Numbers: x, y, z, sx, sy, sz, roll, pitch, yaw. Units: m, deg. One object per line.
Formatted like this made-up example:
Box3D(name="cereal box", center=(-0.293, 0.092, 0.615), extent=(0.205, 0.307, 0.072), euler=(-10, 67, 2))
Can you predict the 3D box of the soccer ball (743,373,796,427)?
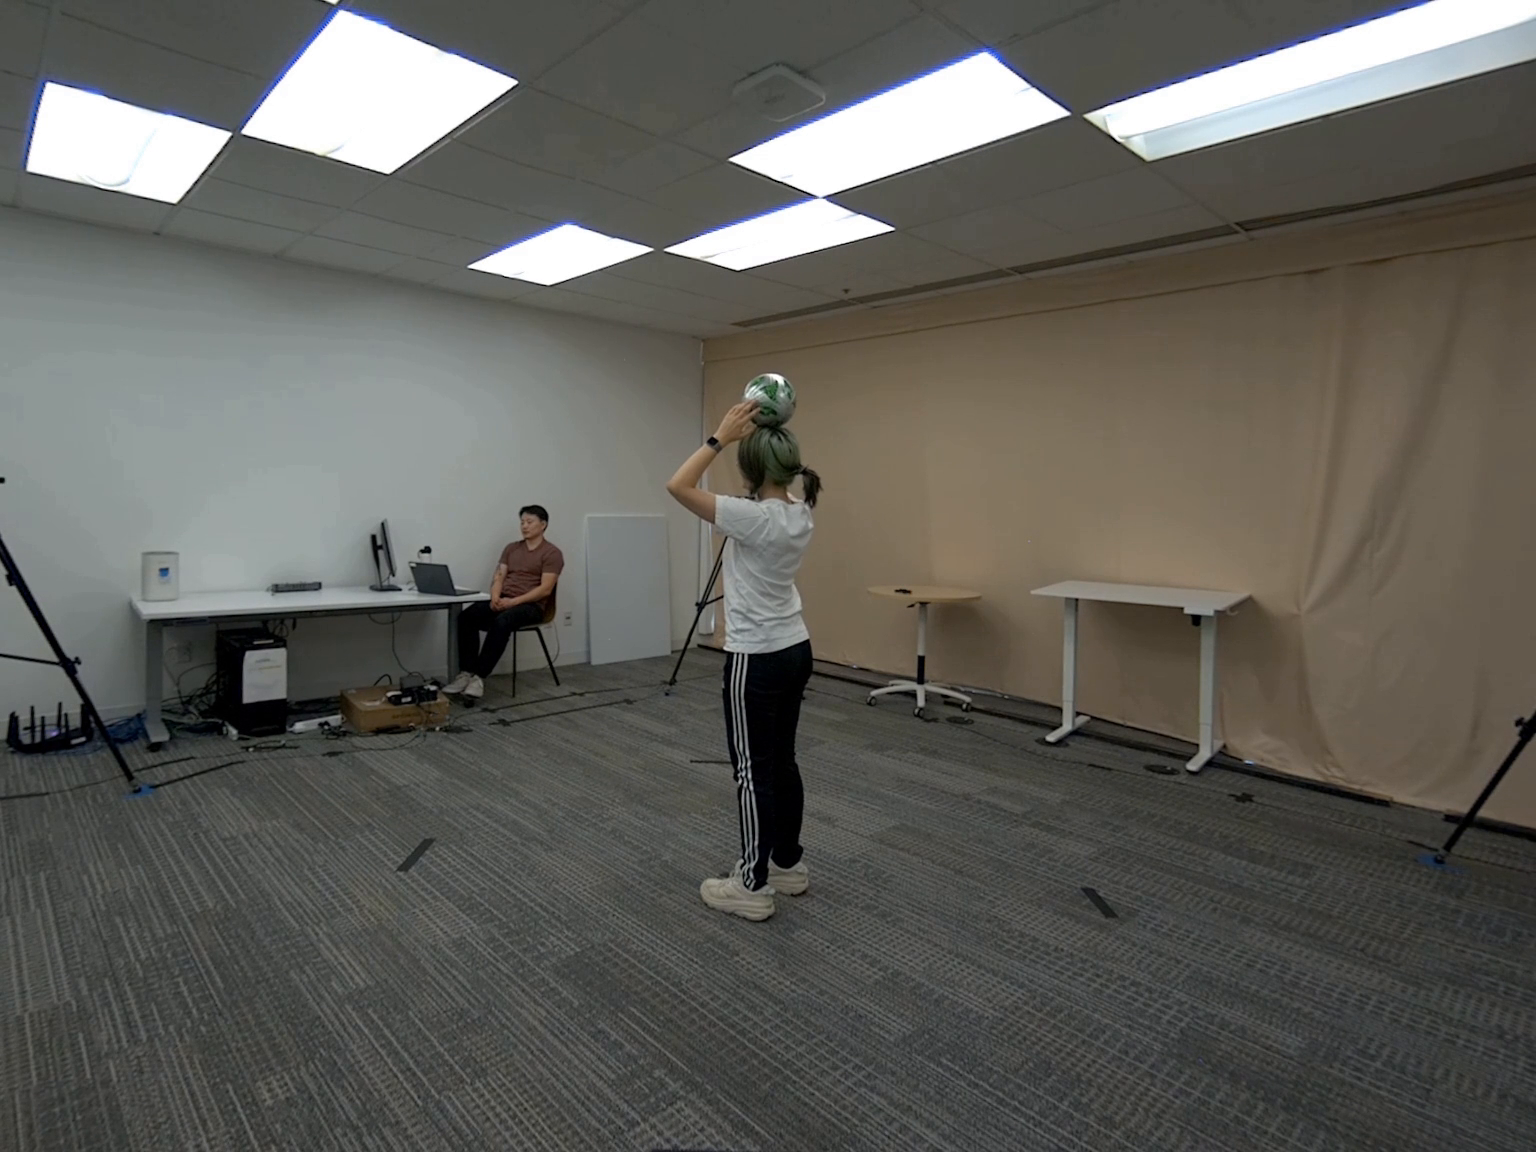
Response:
Box3D(name="soccer ball", center=(0.003, -0.596, 2.873), extent=(0.187, 0.187, 0.188), euler=(1, 4, -1))
